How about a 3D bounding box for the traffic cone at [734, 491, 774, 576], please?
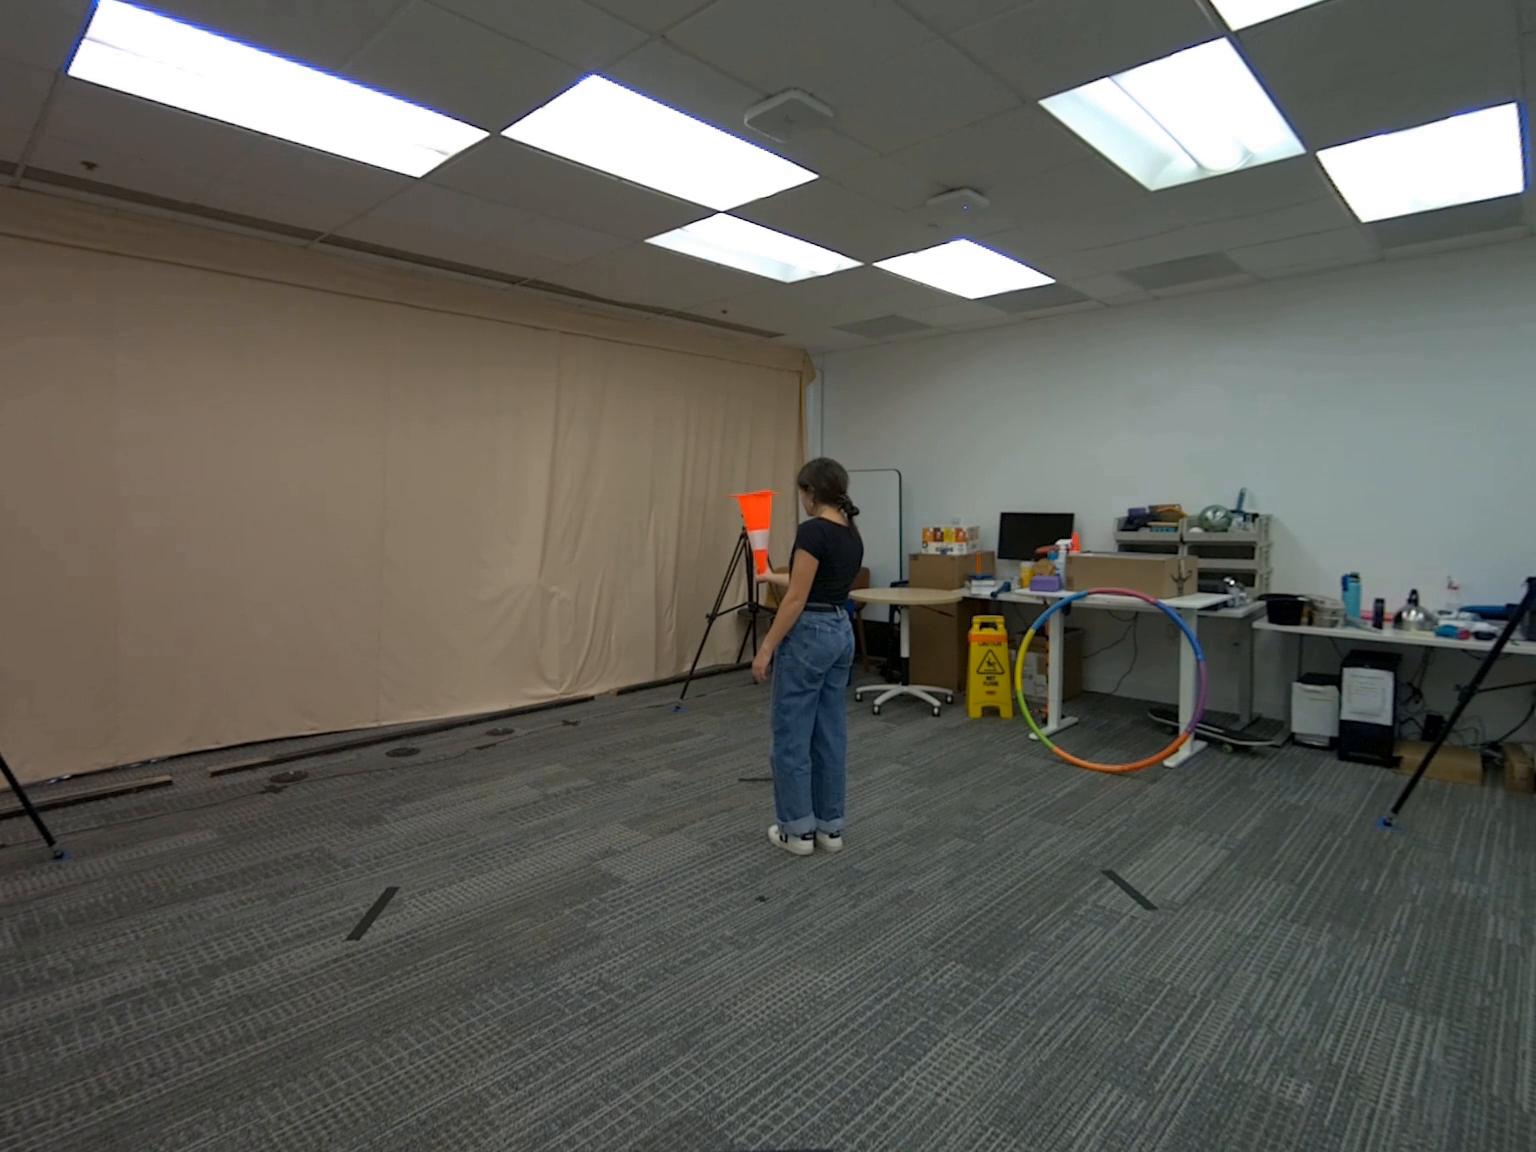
[{"bbox_3d":[-0.041,-0.185,3.925,0.207,0.385,0.201,-7,-5,18],"label":"traffic cone"}]
